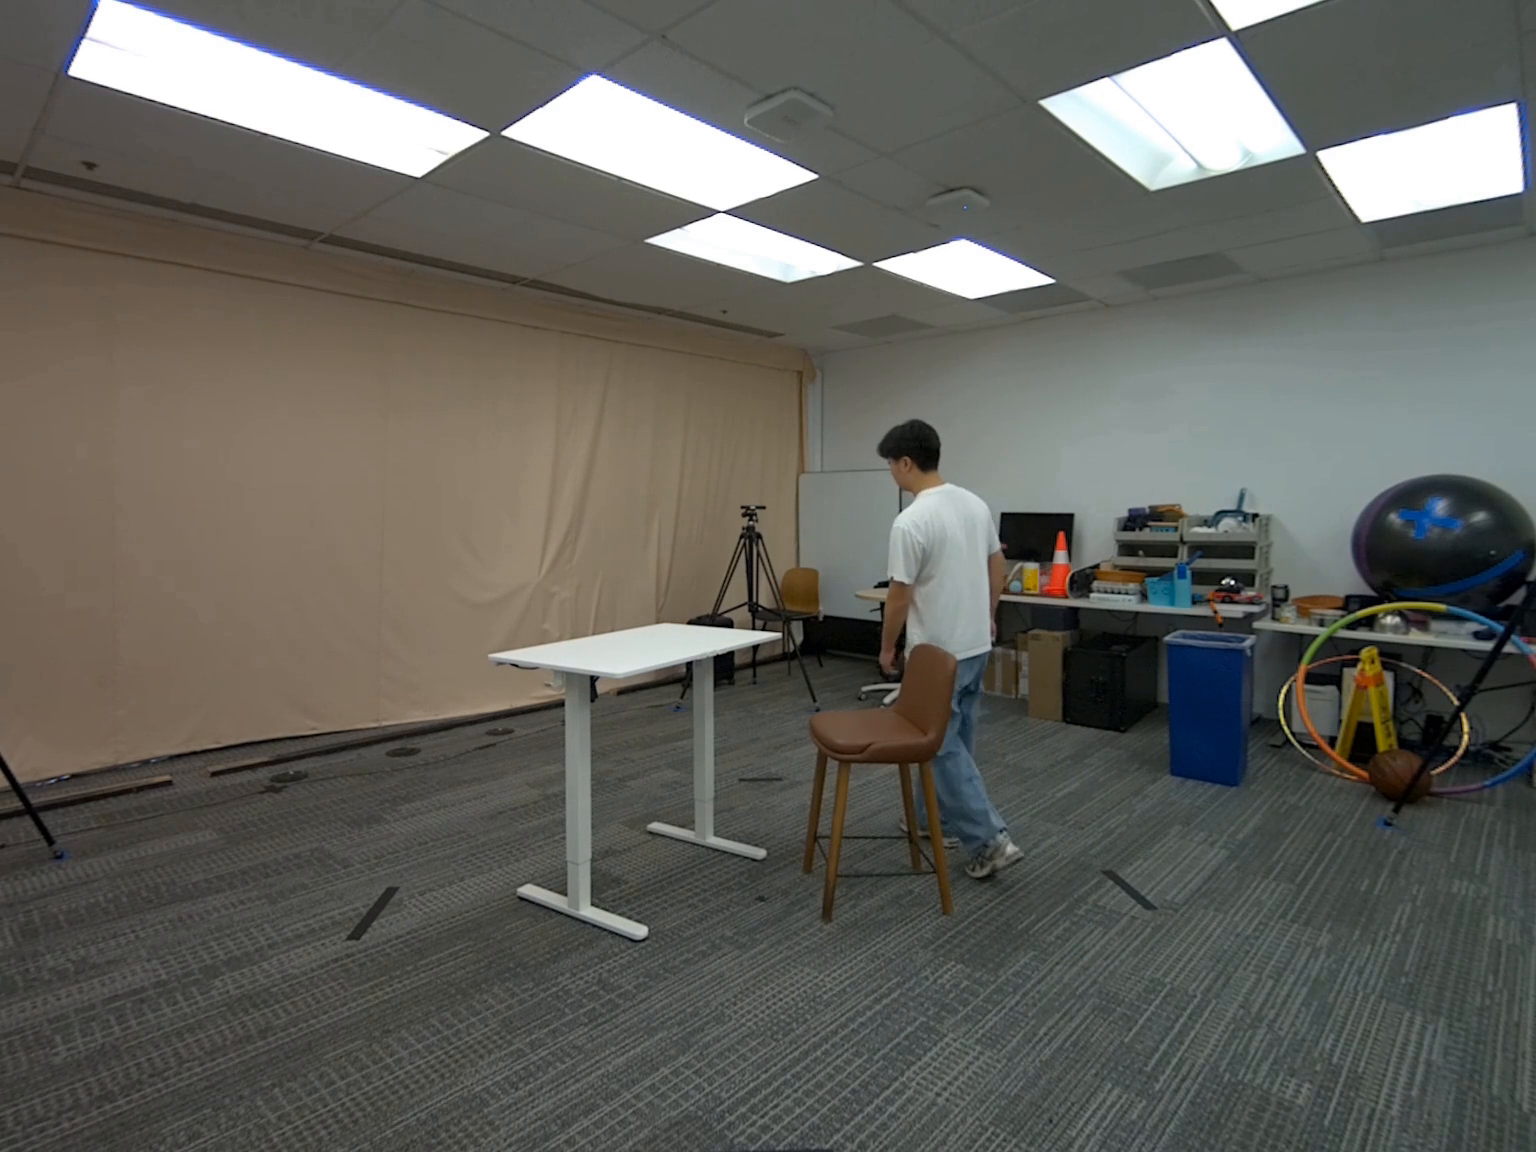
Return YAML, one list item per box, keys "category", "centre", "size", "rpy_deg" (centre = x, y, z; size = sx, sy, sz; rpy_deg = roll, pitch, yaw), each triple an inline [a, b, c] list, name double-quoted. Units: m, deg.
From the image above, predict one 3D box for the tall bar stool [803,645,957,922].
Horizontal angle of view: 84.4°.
- category: "tall bar stool"
  centre: [0.393, 0.706, 2.995]
  size: [0.466, 0.888, 0.460]
  rpy_deg: [2, 4, -5]
